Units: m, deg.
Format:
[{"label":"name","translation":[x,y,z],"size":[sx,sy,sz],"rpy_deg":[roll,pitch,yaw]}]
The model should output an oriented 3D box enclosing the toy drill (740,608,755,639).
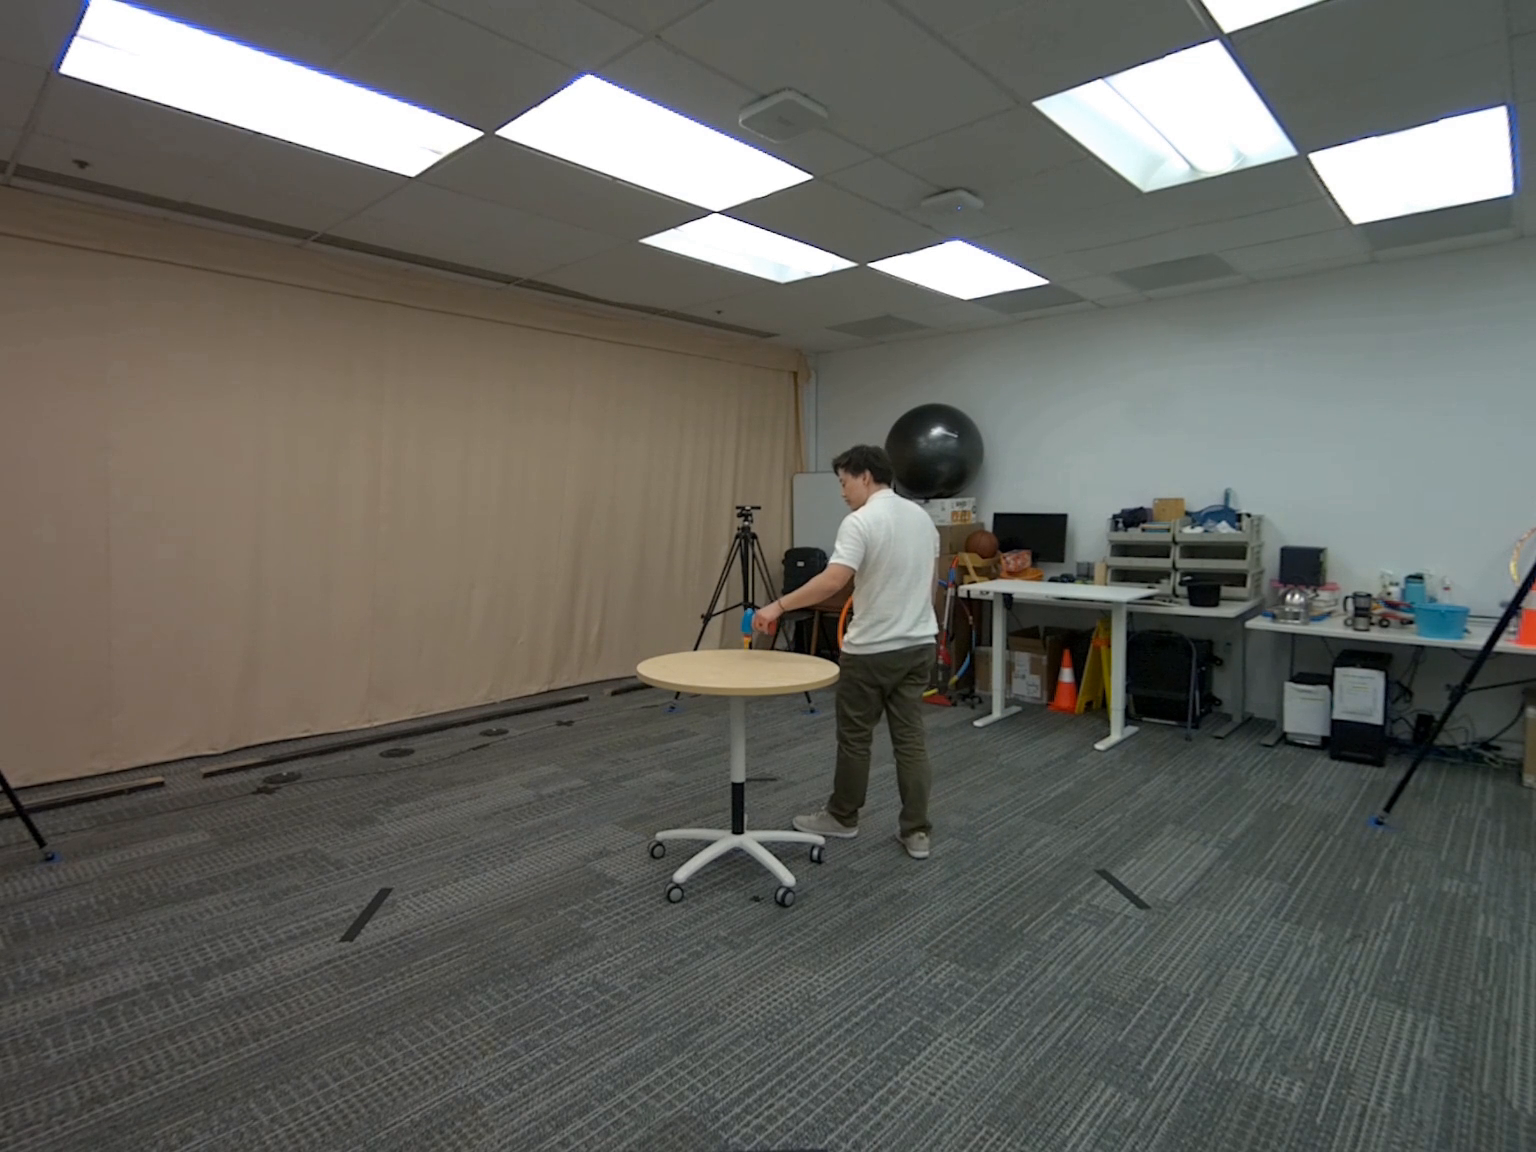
[{"label":"toy drill","translation":[-0.040,0.221,3.360],"size":[0.149,0.169,0.060],"rpy_deg":[10,8,19]}]
